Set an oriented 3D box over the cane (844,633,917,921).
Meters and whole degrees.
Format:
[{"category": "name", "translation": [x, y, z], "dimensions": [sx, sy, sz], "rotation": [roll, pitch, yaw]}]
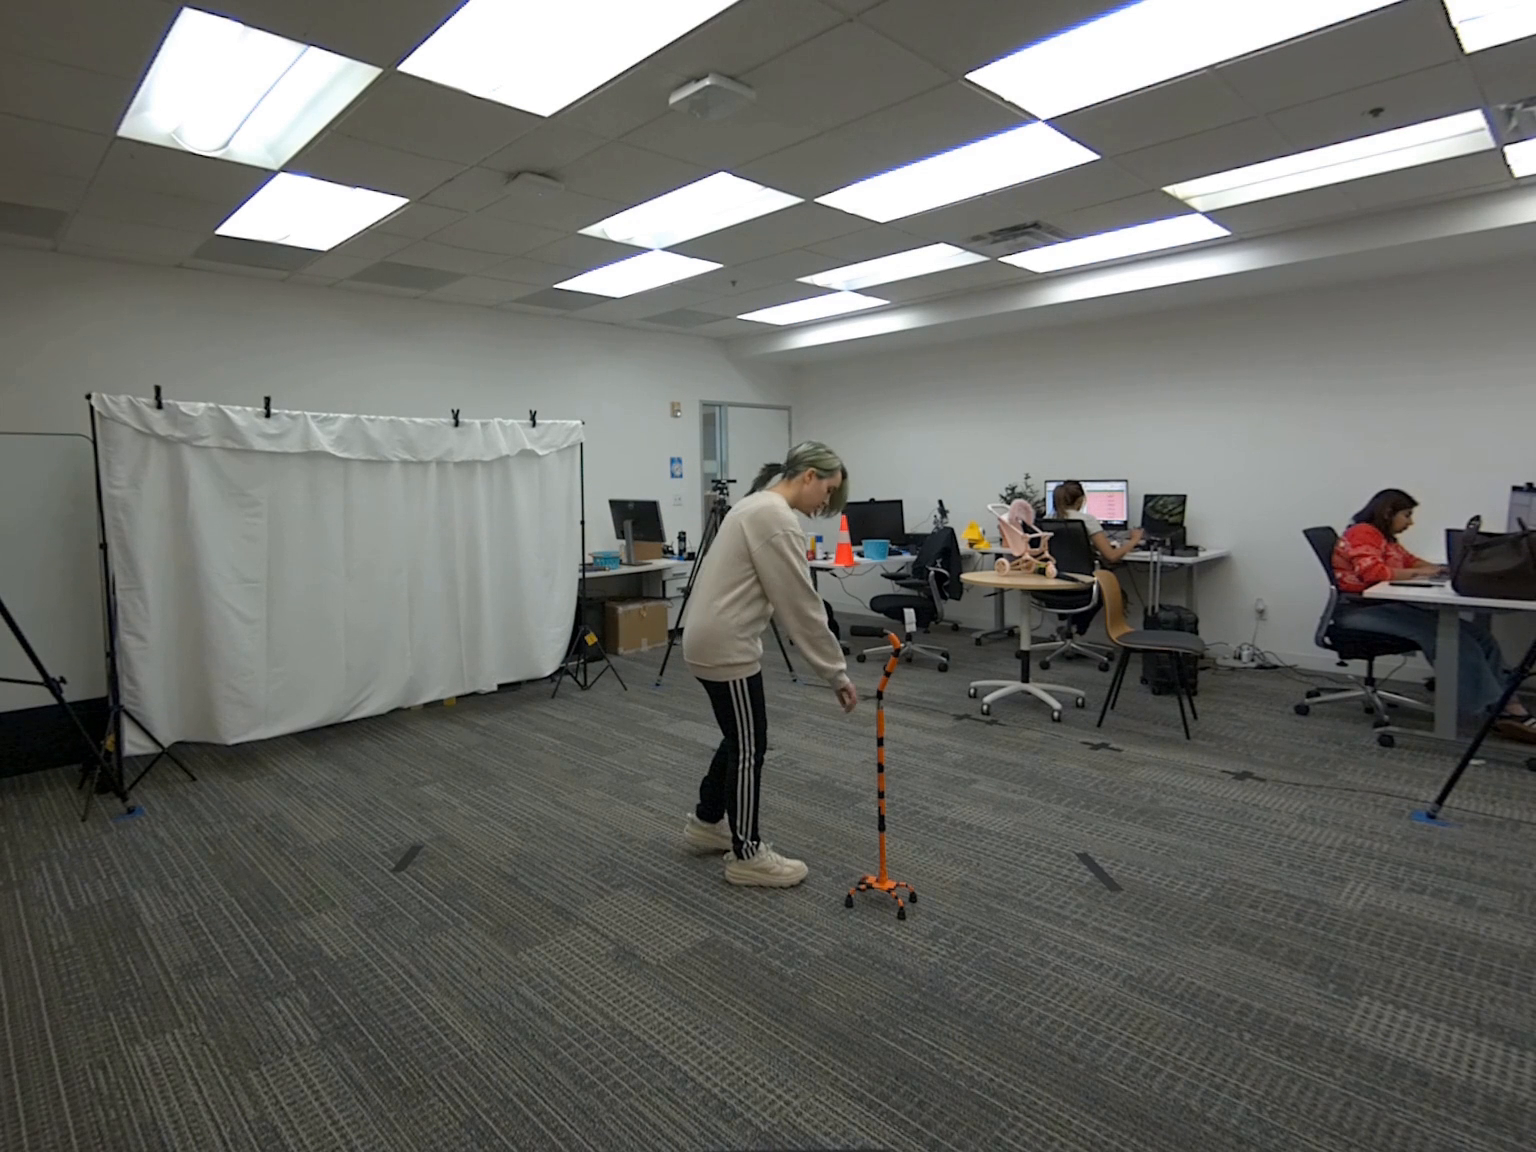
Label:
[{"category": "cane", "translation": [0.377, 0.621, 2.776], "dimensions": [0.211, 0.906, 0.148], "rotation": [2, 3, 27]}]
